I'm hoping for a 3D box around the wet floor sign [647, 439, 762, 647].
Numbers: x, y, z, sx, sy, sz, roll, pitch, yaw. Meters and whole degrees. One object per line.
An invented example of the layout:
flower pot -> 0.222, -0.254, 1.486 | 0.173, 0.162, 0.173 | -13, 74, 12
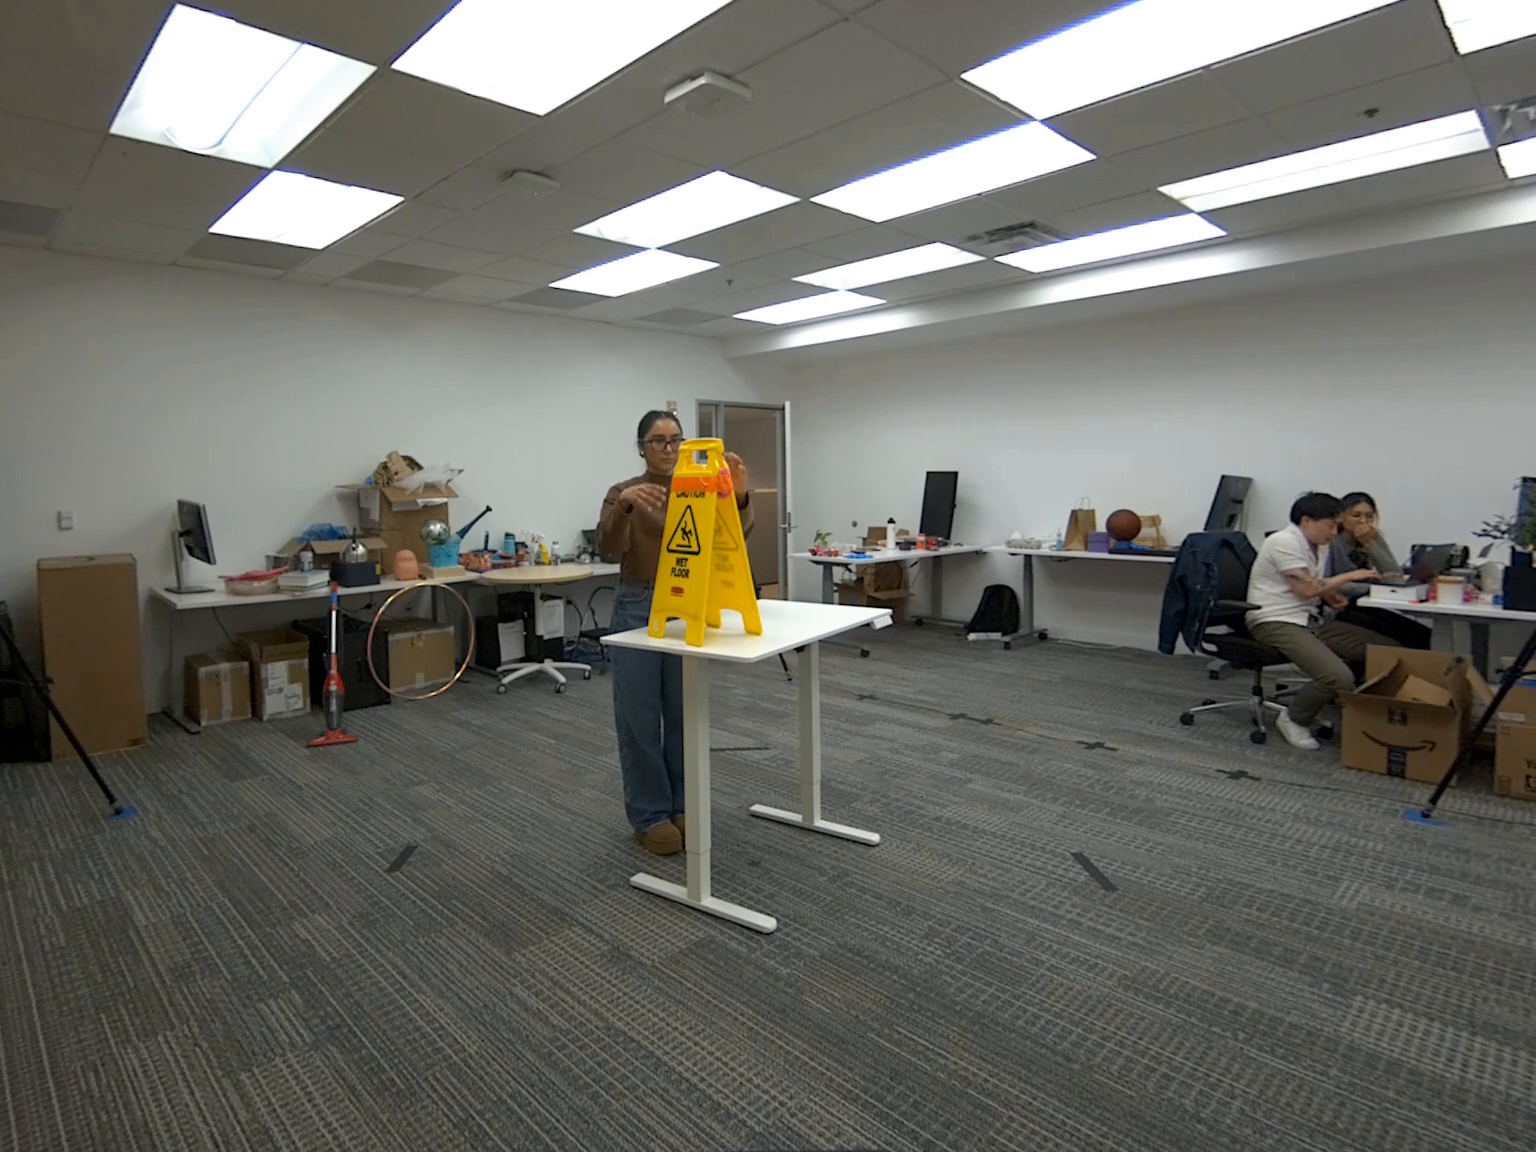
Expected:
wet floor sign -> -0.212, -0.123, 2.812 | 0.282, 0.644, 0.291 | -4, 5, -43
